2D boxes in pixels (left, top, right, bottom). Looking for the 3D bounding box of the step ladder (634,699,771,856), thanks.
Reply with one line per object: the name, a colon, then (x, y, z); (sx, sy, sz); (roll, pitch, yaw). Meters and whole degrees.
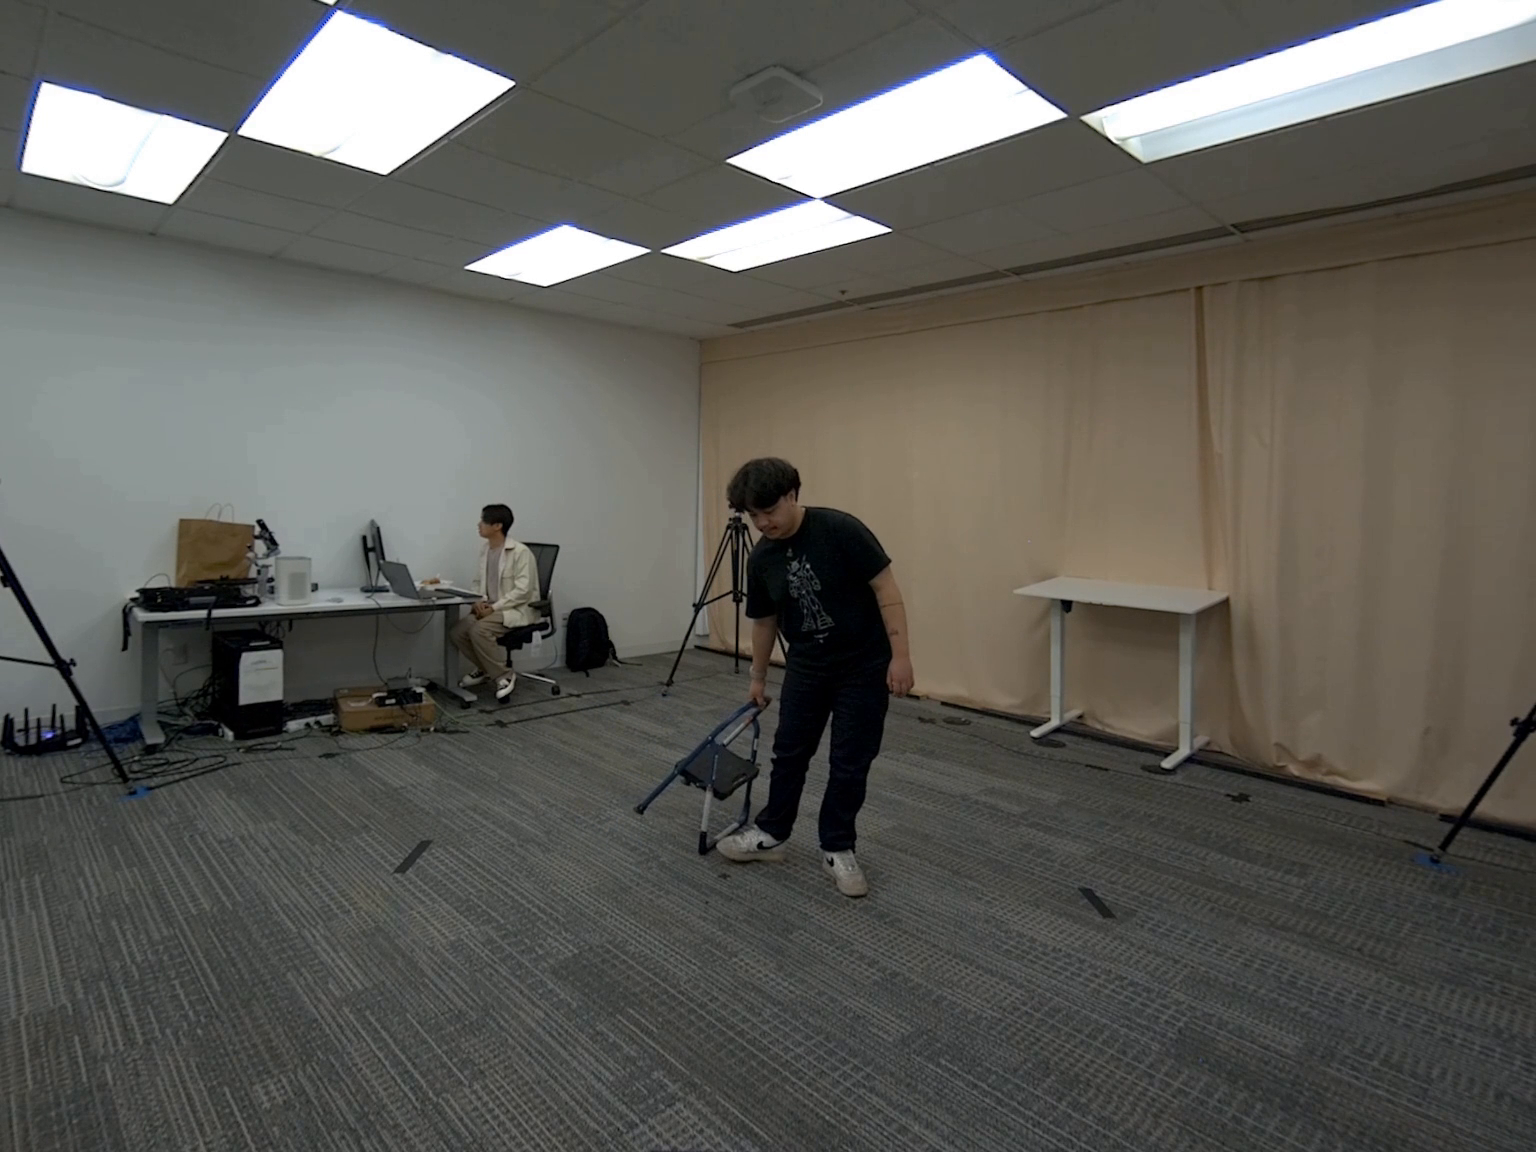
step ladder: (-0.214, 0.735, 3.461); (0.357, 0.603, 0.423); (26, 13, 21)
